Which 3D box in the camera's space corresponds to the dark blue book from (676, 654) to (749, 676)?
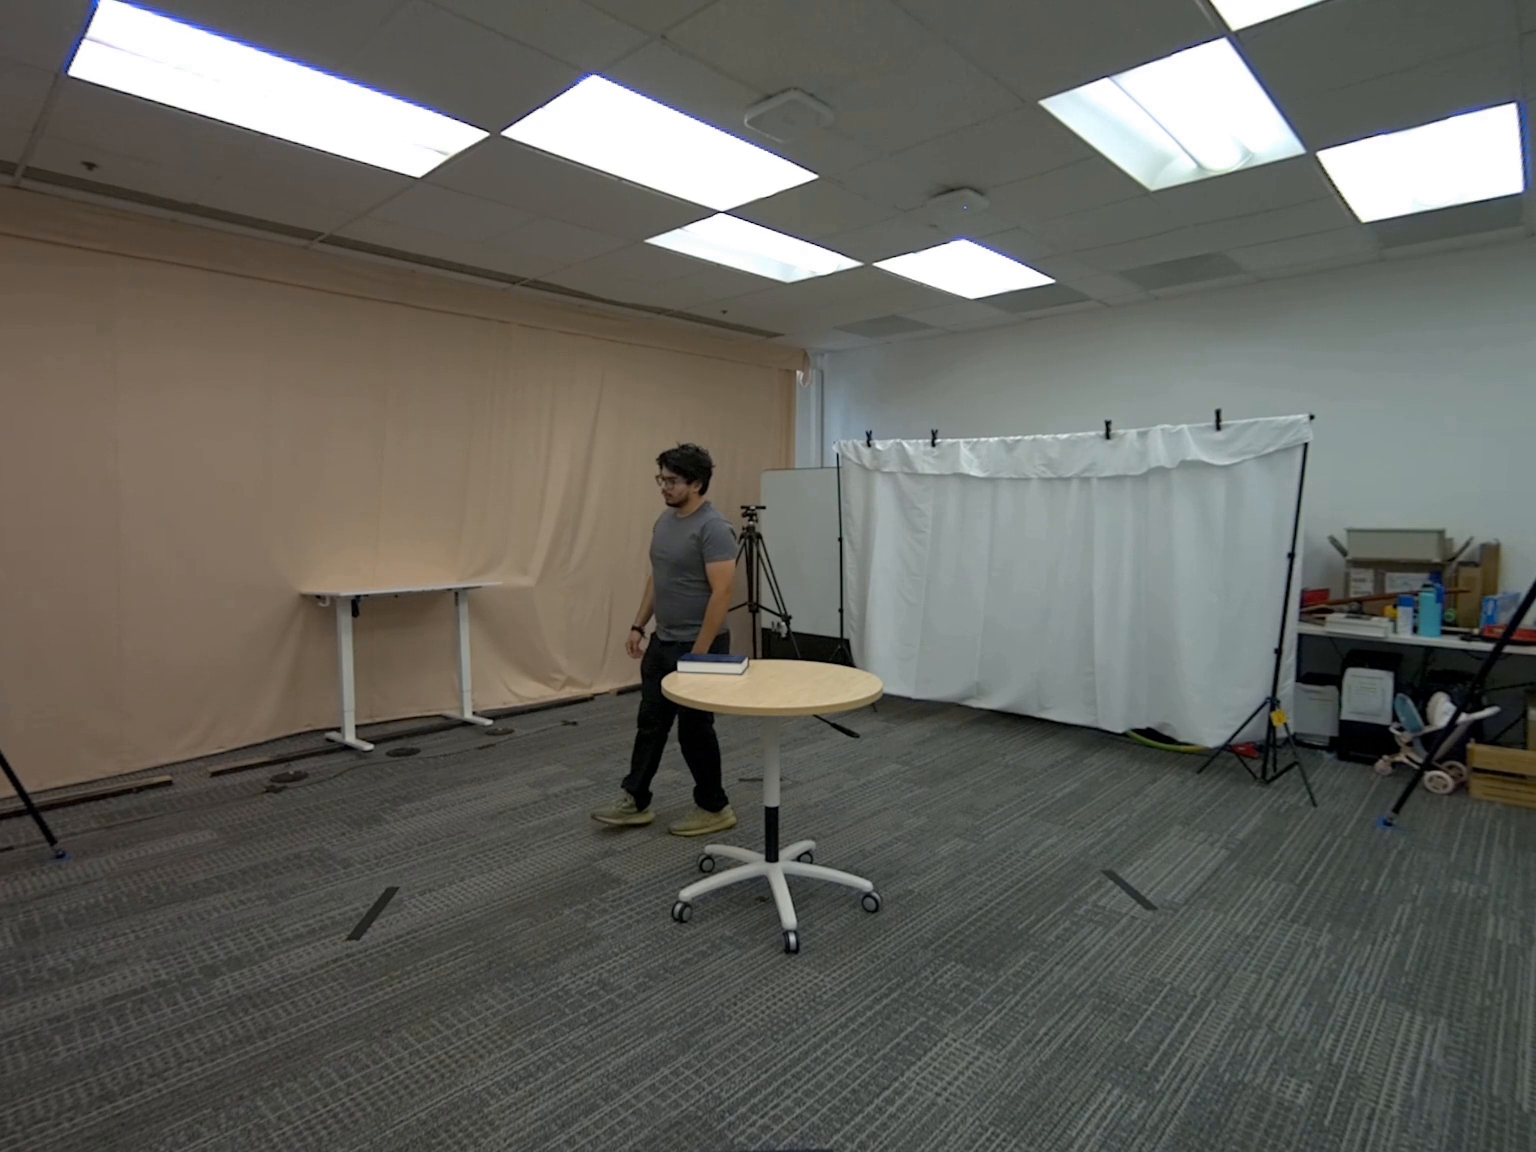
[{"bbox_3d":[-0.195,0.326,3.142,0.248,0.045,0.162,1,5,11],"label":"dark blue book"}]
